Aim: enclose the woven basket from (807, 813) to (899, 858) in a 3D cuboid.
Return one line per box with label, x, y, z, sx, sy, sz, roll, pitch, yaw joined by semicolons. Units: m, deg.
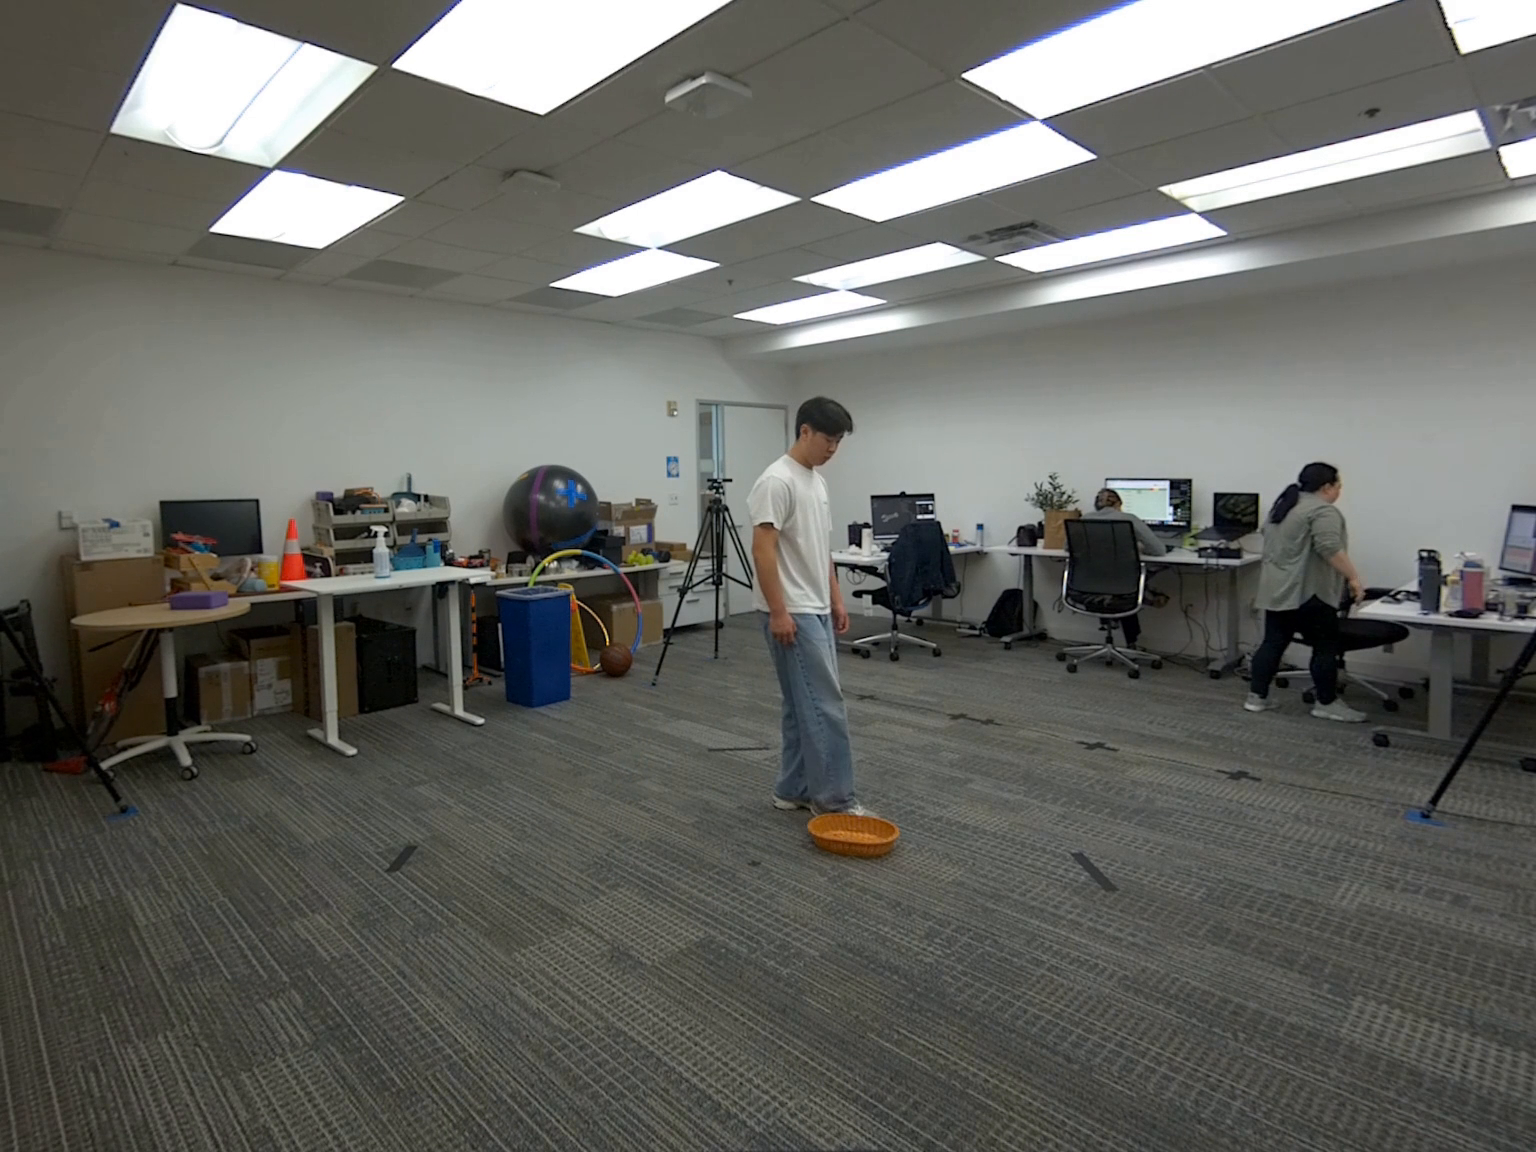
woven basket;0.310;0.989;3.219;0.357;0.073;0.249;1;7;20
